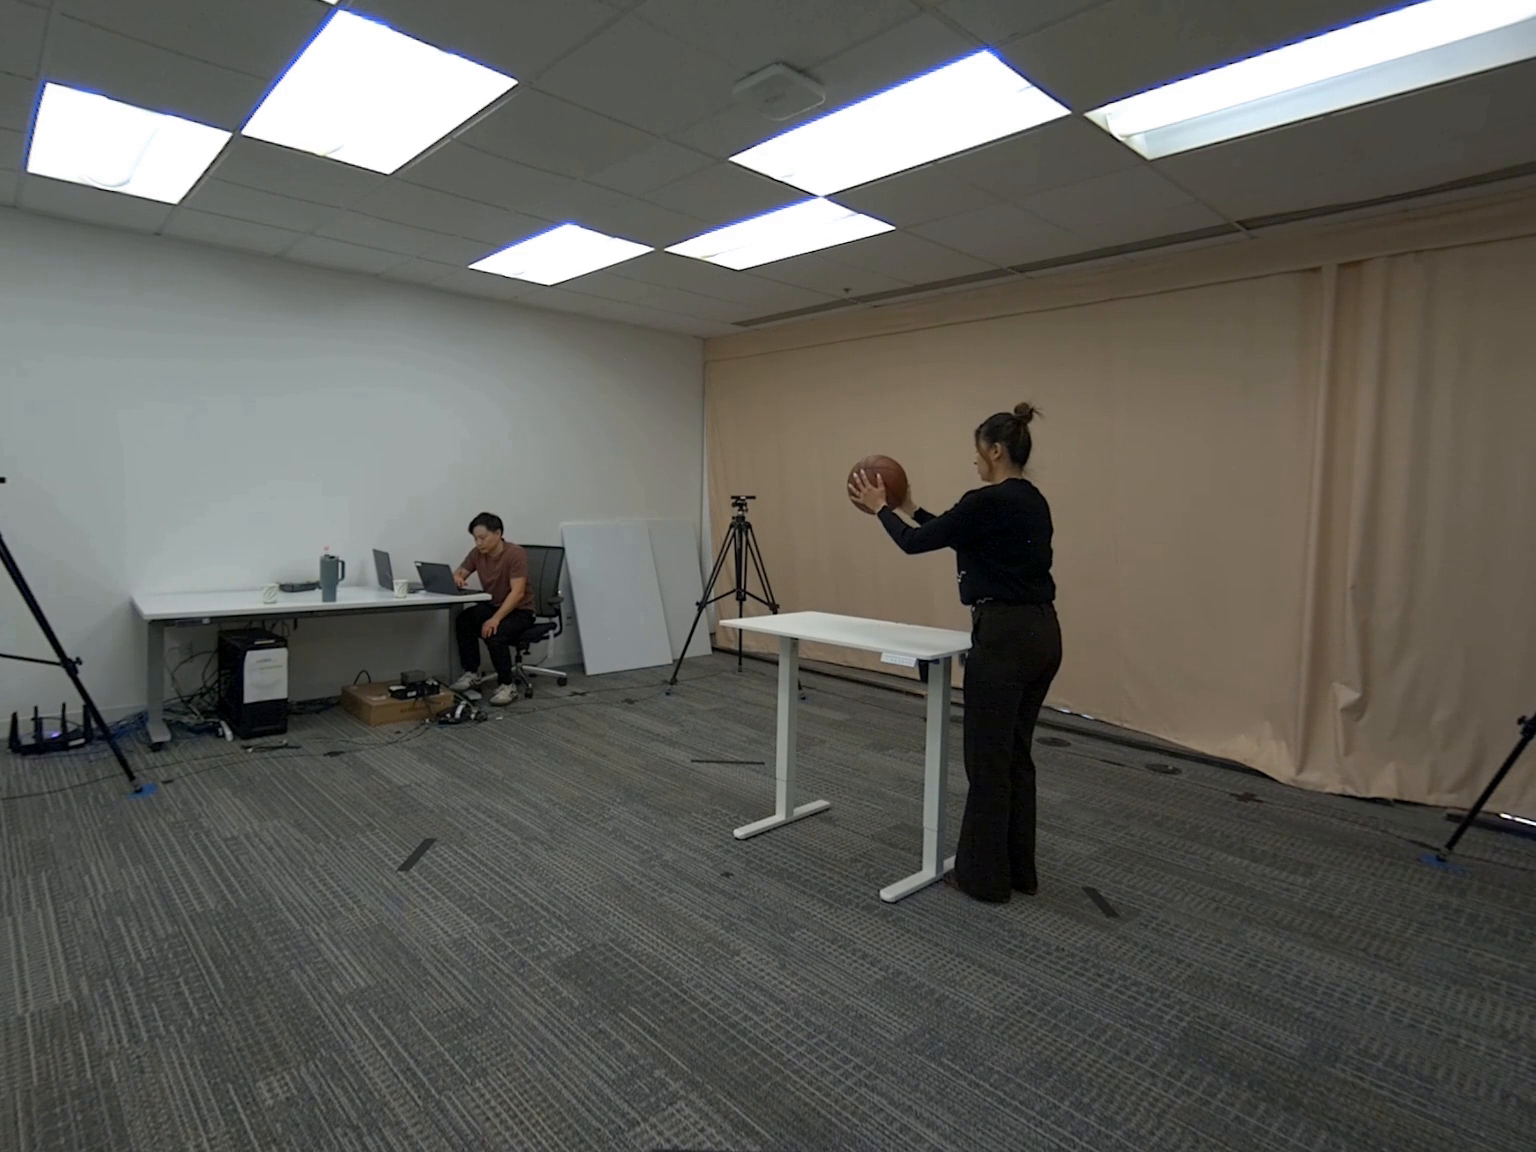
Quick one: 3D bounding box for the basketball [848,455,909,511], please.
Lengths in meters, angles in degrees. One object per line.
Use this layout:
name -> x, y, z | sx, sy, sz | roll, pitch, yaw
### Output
basketball -> 0.427, -0.357, 3.326 | 0.236, 0.235, 0.237 | 1, 4, -1
